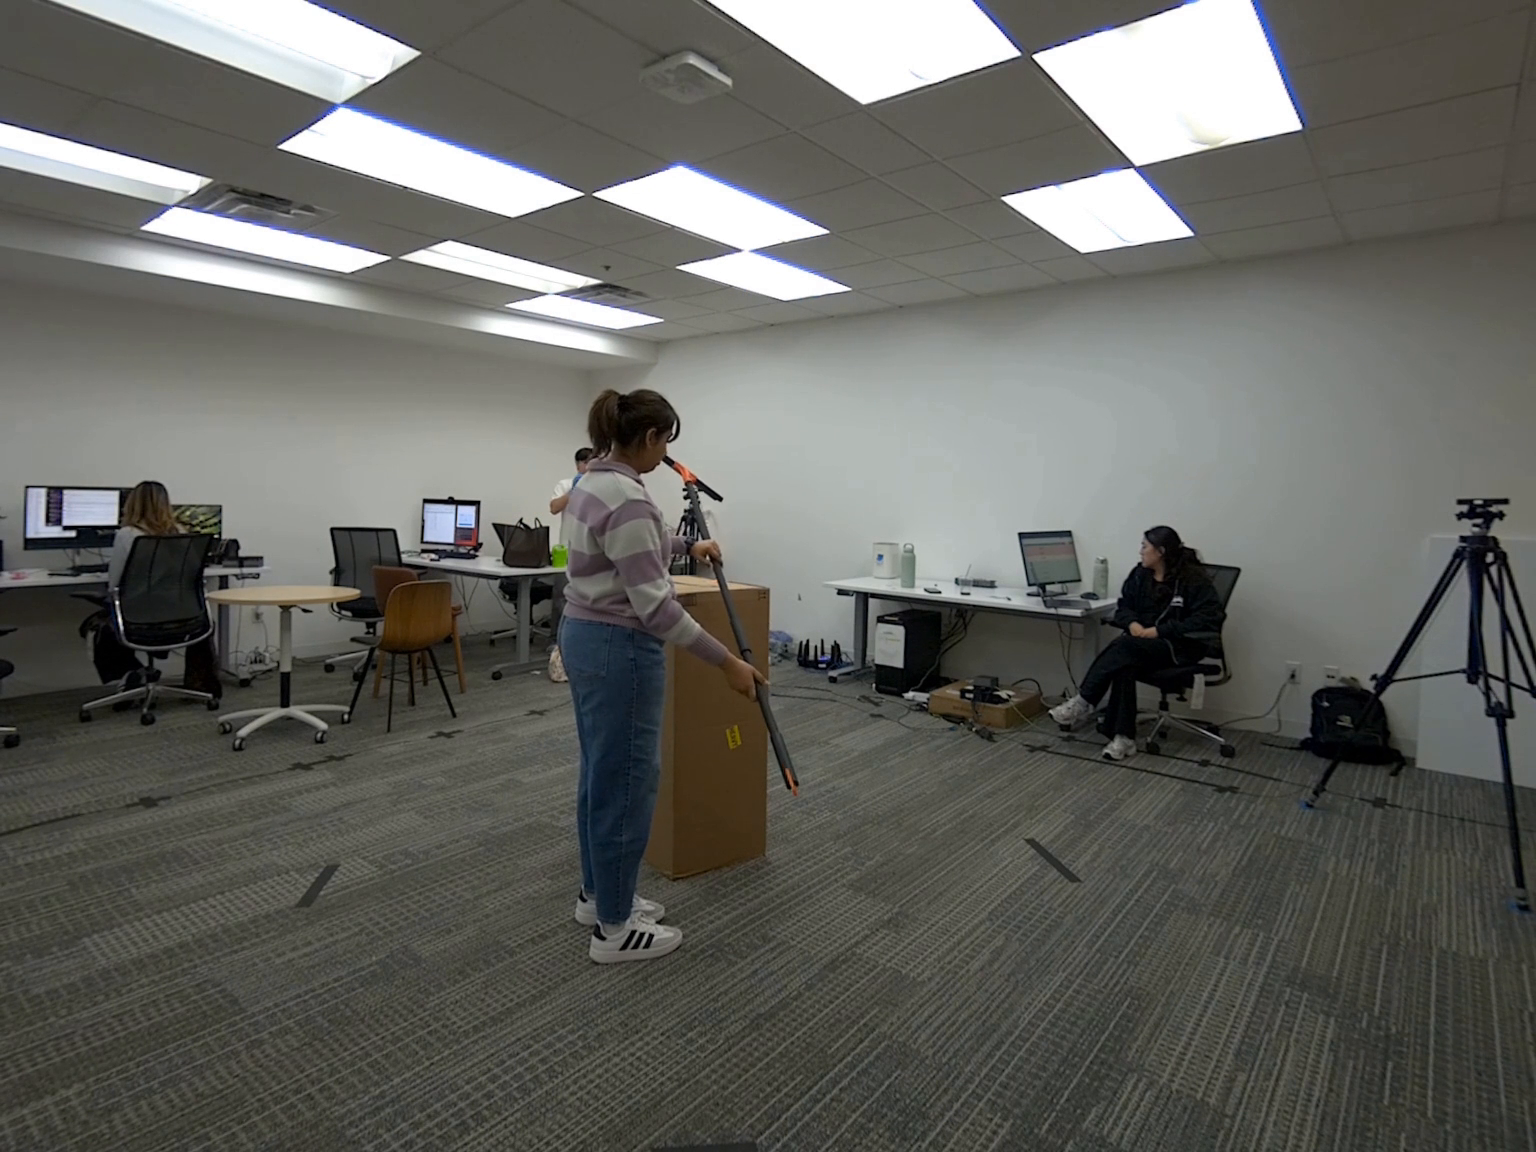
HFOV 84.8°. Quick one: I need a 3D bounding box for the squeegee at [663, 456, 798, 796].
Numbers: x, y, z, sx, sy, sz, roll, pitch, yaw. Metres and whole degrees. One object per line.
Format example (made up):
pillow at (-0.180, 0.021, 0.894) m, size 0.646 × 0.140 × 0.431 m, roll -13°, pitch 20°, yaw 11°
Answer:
squeegee at (-0.114, 0.073, 2.735) m, size 0.420 × 0.053 × 1.596 m, roll 35°, pitch 22°, yaw -37°
